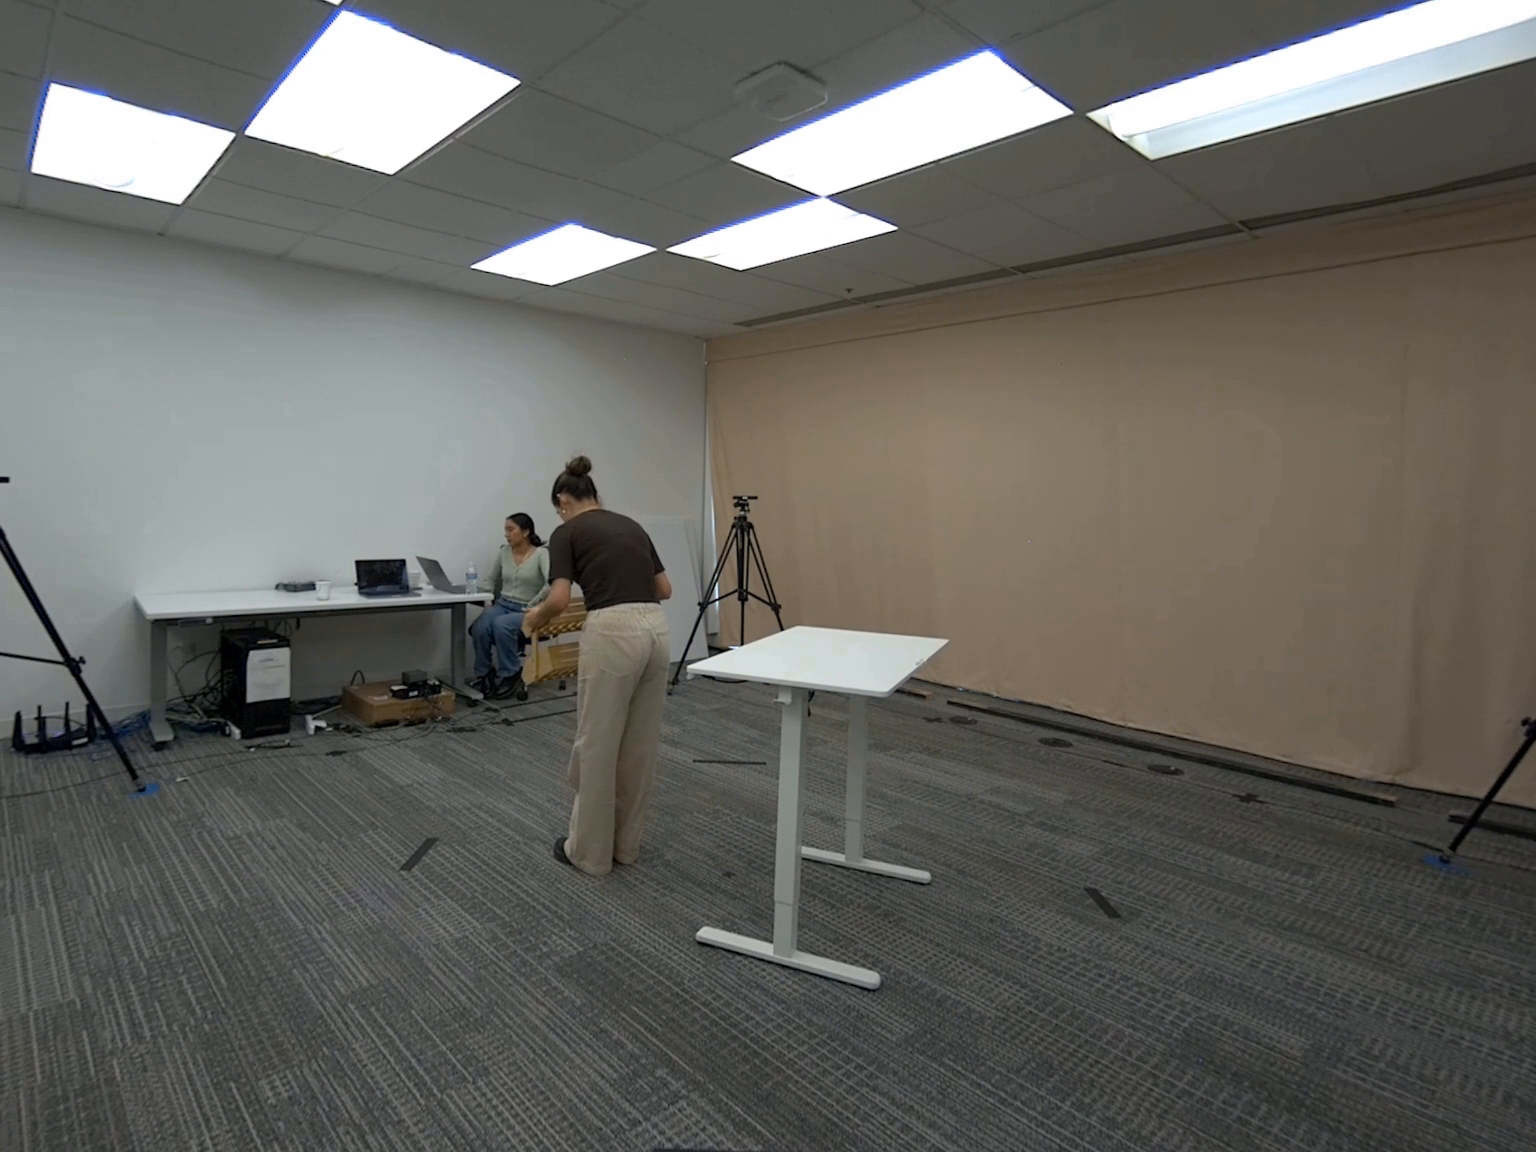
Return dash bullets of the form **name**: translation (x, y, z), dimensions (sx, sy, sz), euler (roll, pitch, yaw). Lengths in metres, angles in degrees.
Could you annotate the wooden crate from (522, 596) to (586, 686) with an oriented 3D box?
- **wooden crate**: translation (-0.832, 0.241, 3.401), dimensions (0.306, 0.276, 0.317), euler (-24, -12, 41)
